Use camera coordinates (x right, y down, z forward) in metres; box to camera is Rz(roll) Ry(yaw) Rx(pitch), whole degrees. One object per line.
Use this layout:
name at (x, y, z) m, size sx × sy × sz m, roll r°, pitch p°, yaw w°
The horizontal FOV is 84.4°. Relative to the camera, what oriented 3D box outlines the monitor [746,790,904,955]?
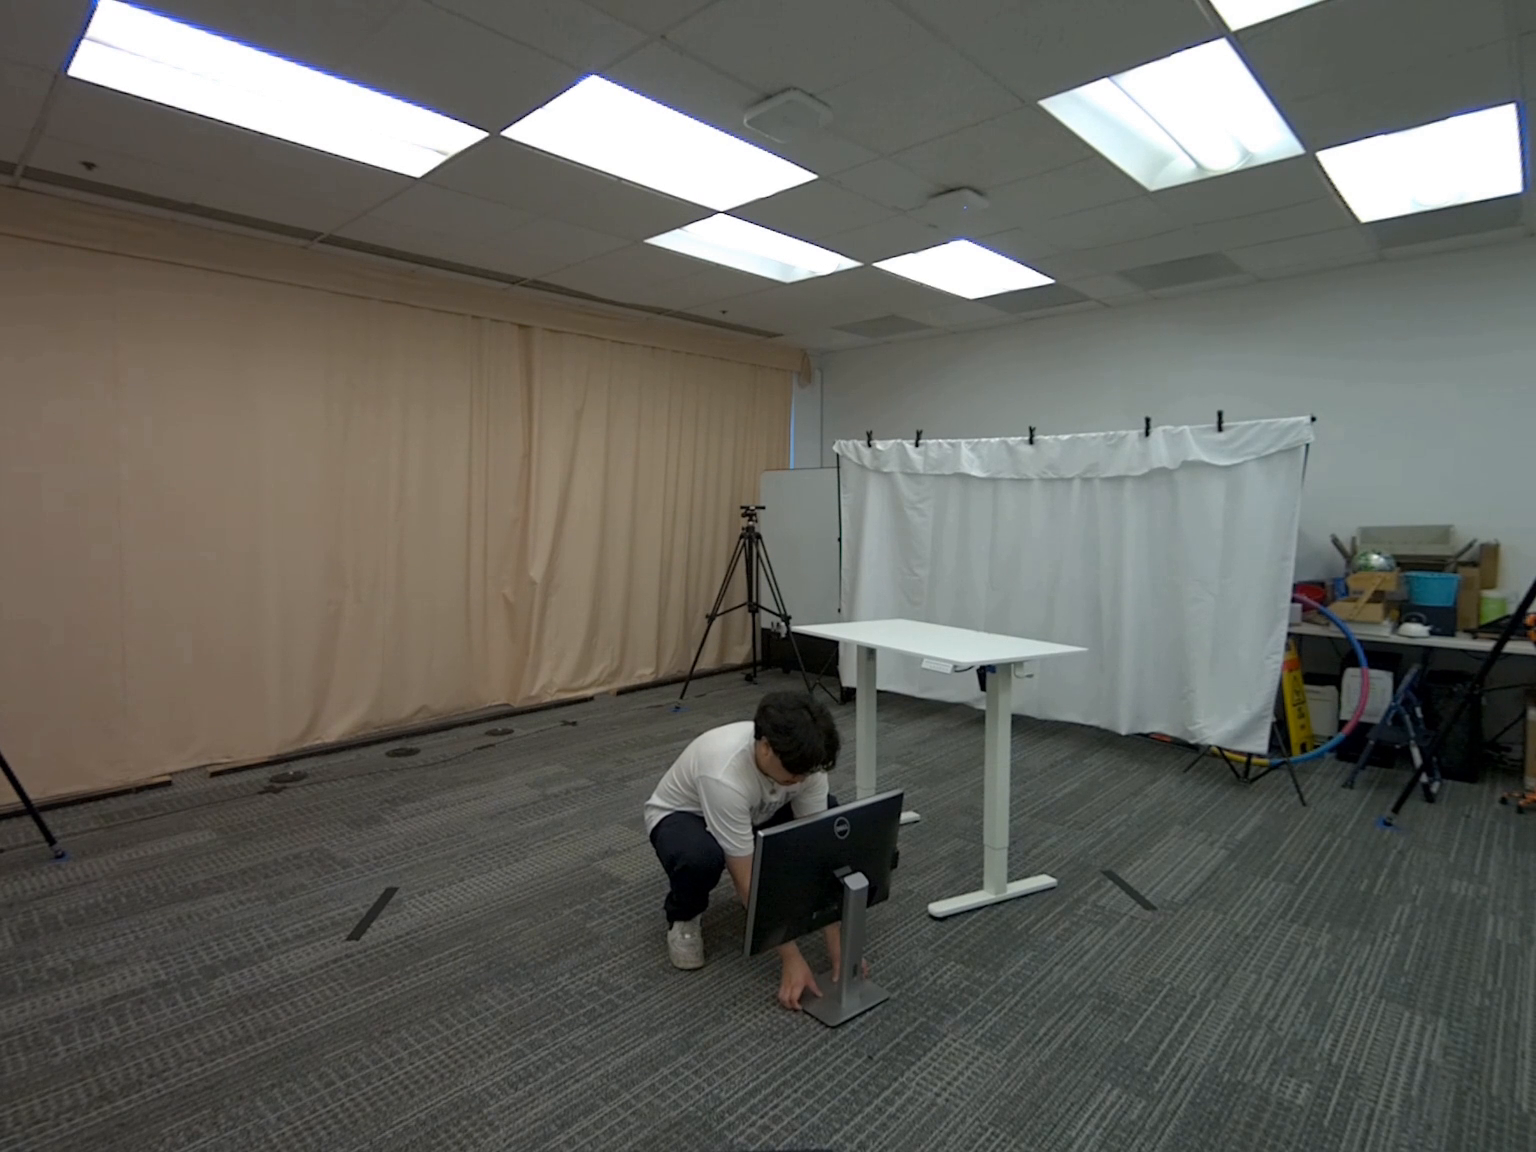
monitor at (0.212, 0.928, 2.353) m, size 0.548 × 0.552 × 0.217 m, roll -1°, pitch 8°, yaw -38°
